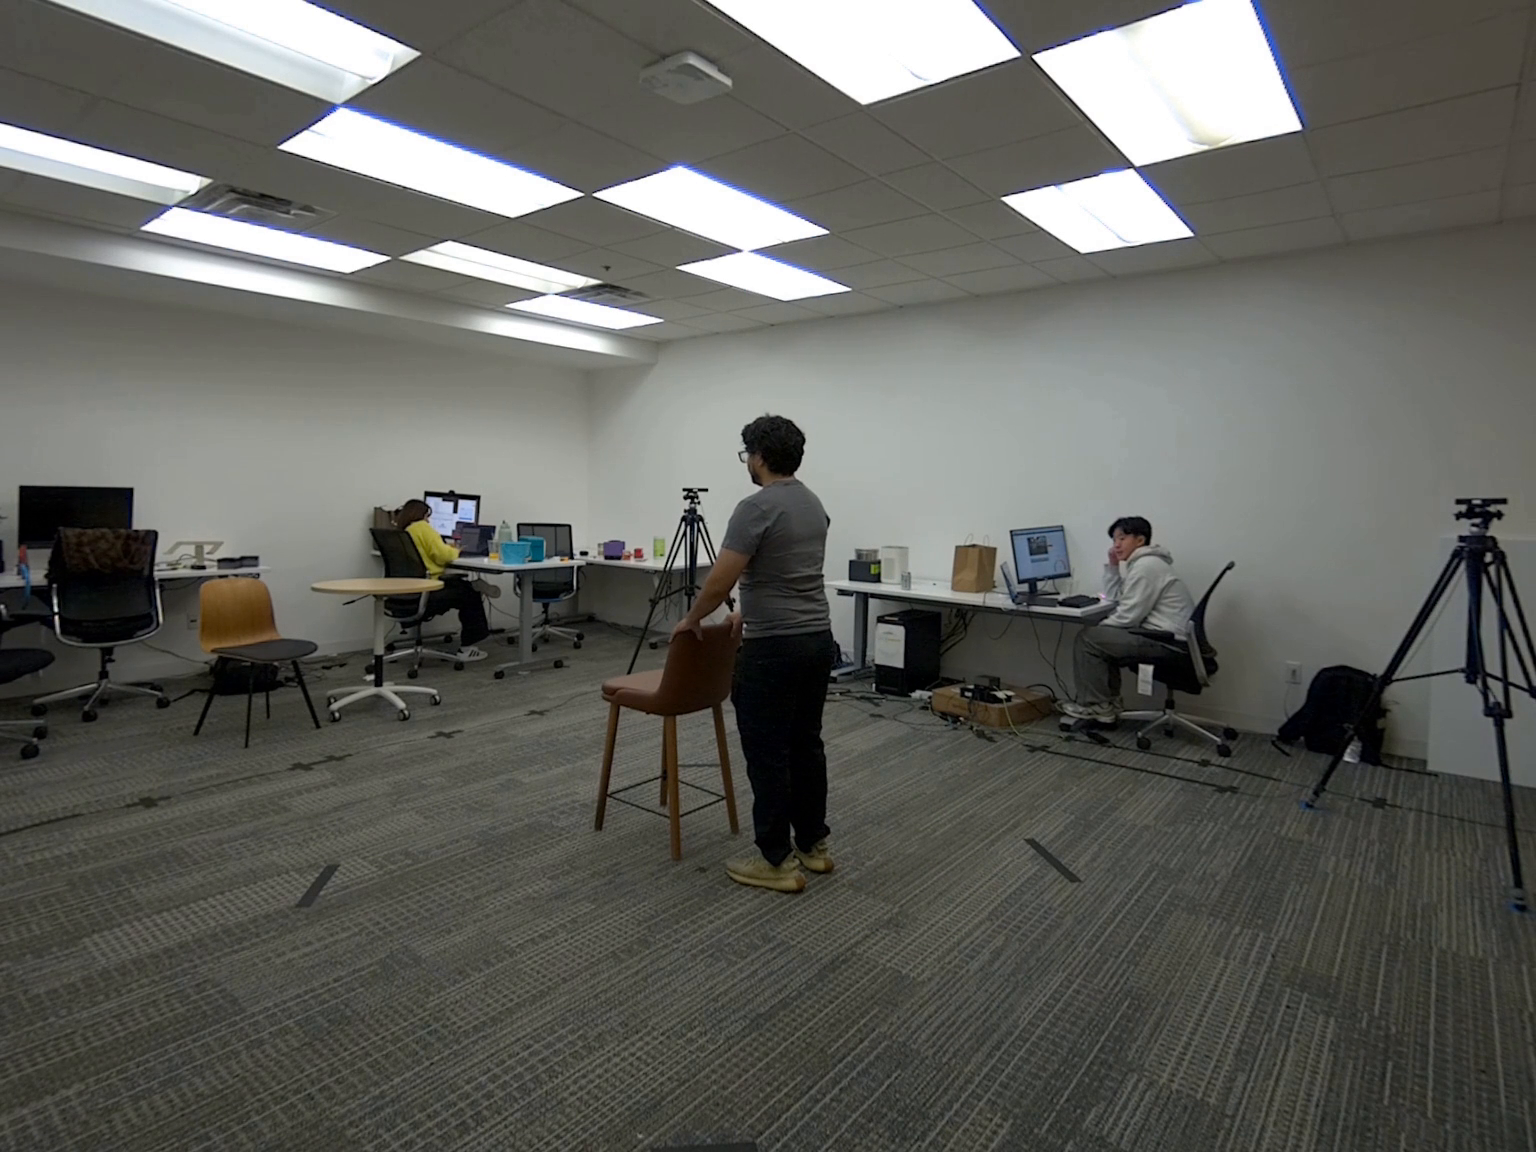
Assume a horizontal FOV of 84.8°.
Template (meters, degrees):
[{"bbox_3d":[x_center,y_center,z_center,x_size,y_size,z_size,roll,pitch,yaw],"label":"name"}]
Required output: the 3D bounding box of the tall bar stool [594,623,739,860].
[{"bbox_3d":[-0.401,0.596,3.438,0.484,0.887,0.443,6,5,39],"label":"tall bar stool"}]
